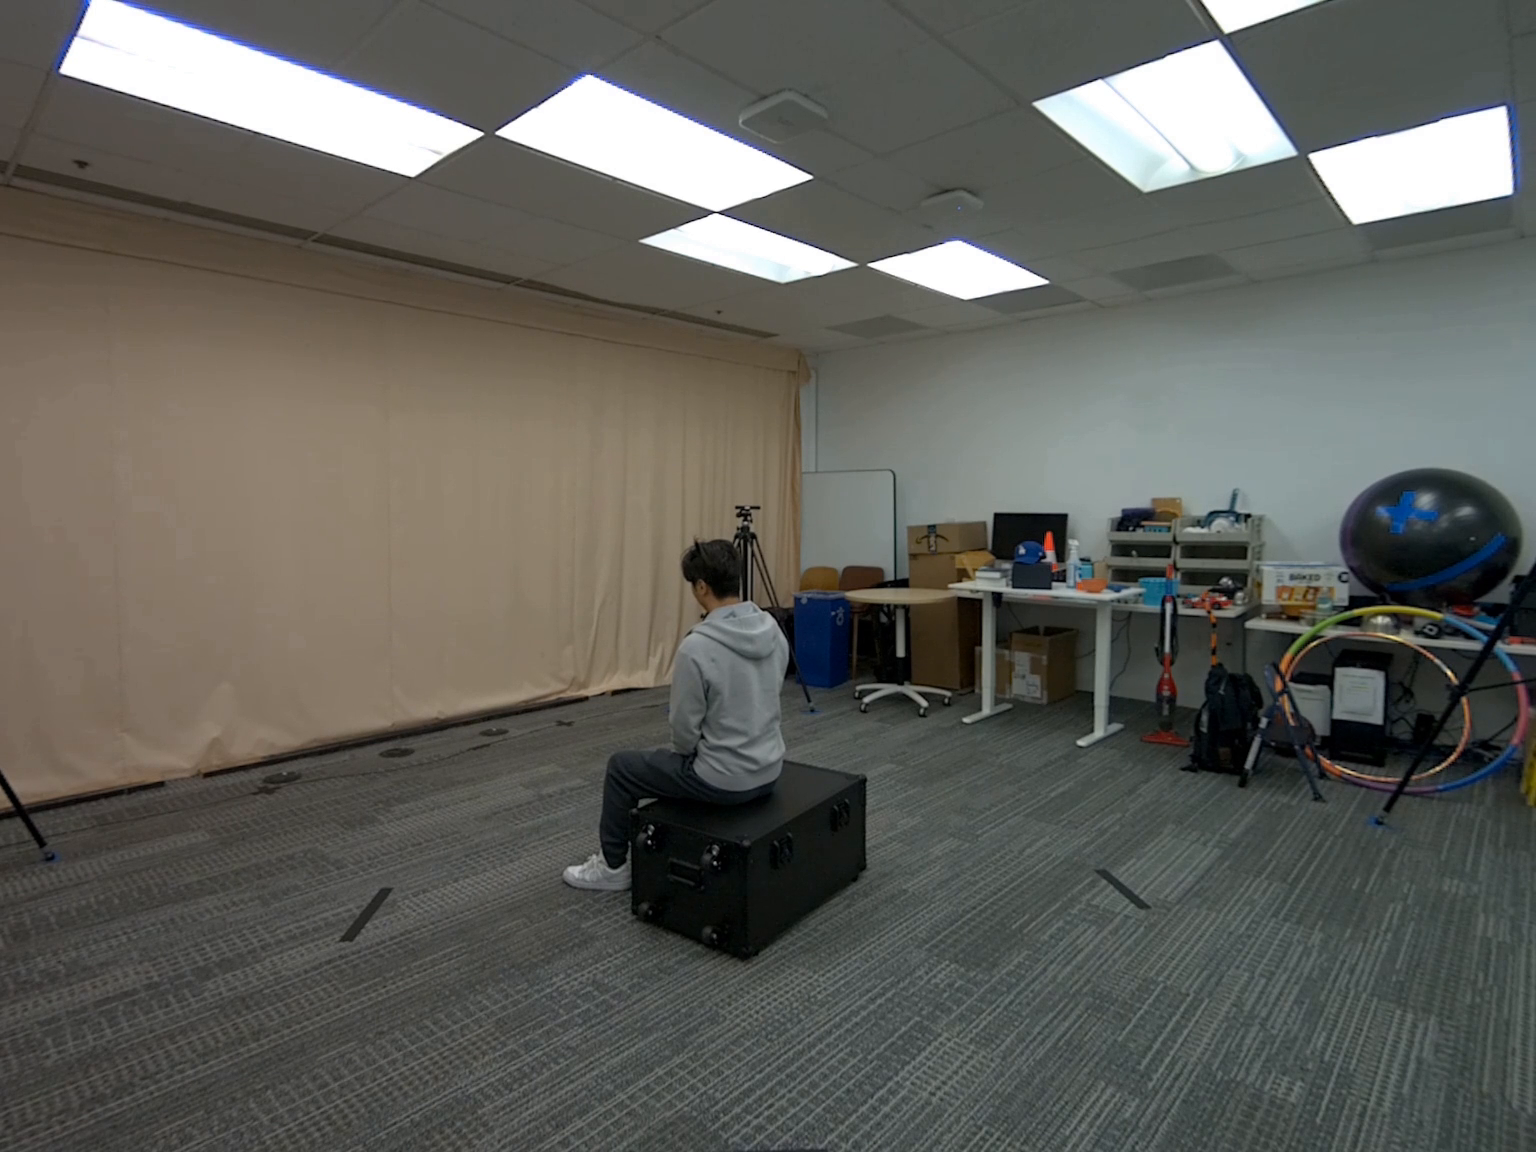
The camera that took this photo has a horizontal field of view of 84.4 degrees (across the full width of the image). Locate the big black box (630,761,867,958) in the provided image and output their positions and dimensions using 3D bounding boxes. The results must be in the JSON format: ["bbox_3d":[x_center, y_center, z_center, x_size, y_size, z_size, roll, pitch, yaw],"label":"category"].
[{"bbox_3d":[-0.019,0.958,3.010,0.538,0.395,0.836,3,6,36],"label":"big black box"}]
